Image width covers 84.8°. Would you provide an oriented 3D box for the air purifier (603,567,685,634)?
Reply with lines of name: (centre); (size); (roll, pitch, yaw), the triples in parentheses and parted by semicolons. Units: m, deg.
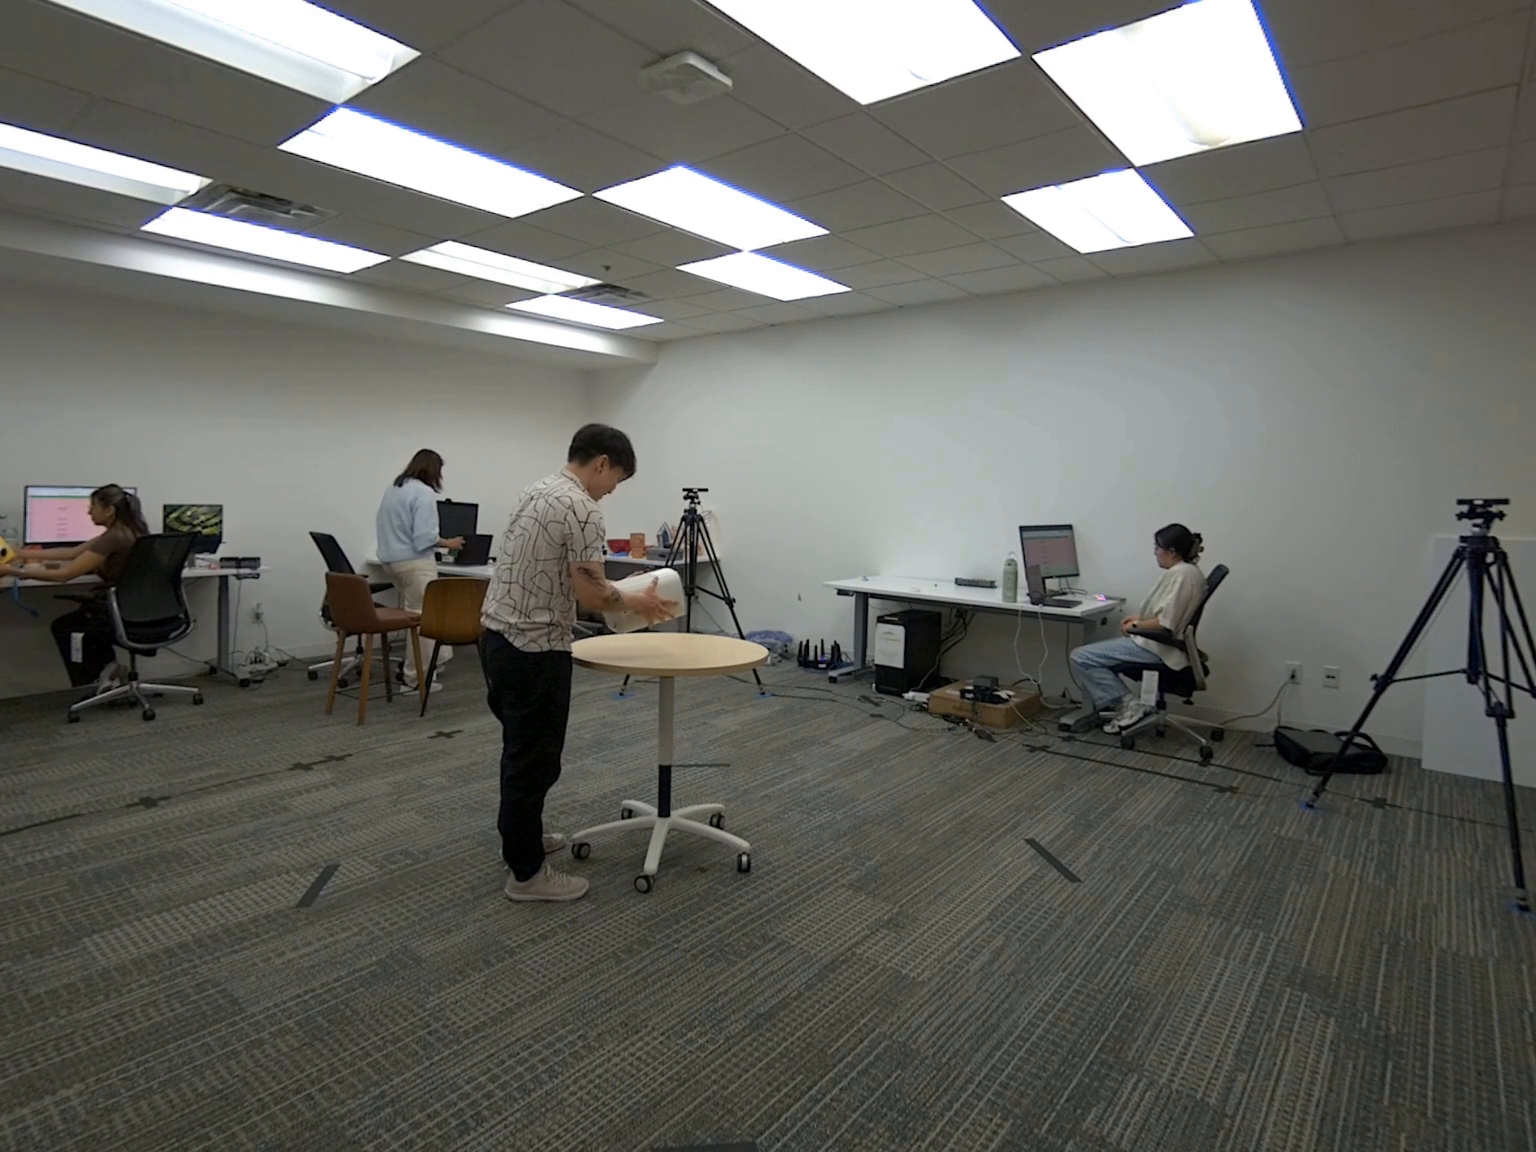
air purifier: (-0.465, 0.087, 3.044); (0.261, 0.168, 0.177); (-16, 16, -23)
